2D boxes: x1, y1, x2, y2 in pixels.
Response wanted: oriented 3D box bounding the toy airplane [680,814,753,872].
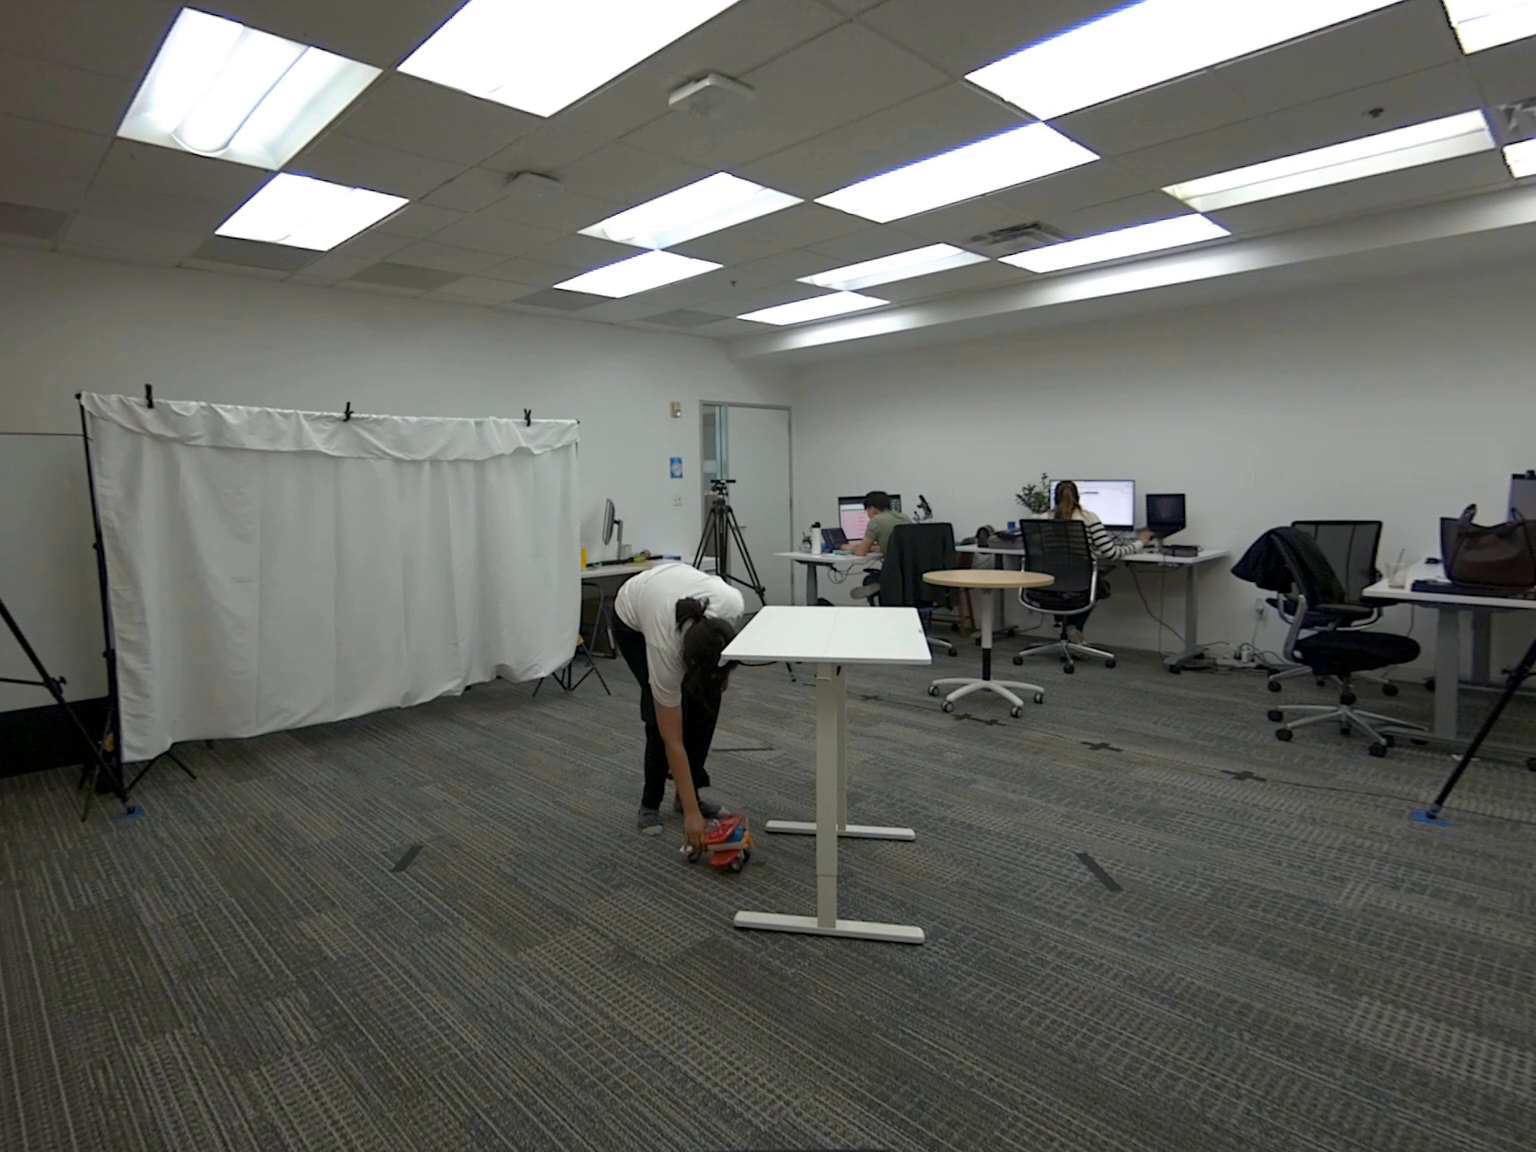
[{"bbox_3d":[-0.185,0.975,3.092,0.257,0.156,0.254,-2,5,-11],"label":"toy airplane"}]
